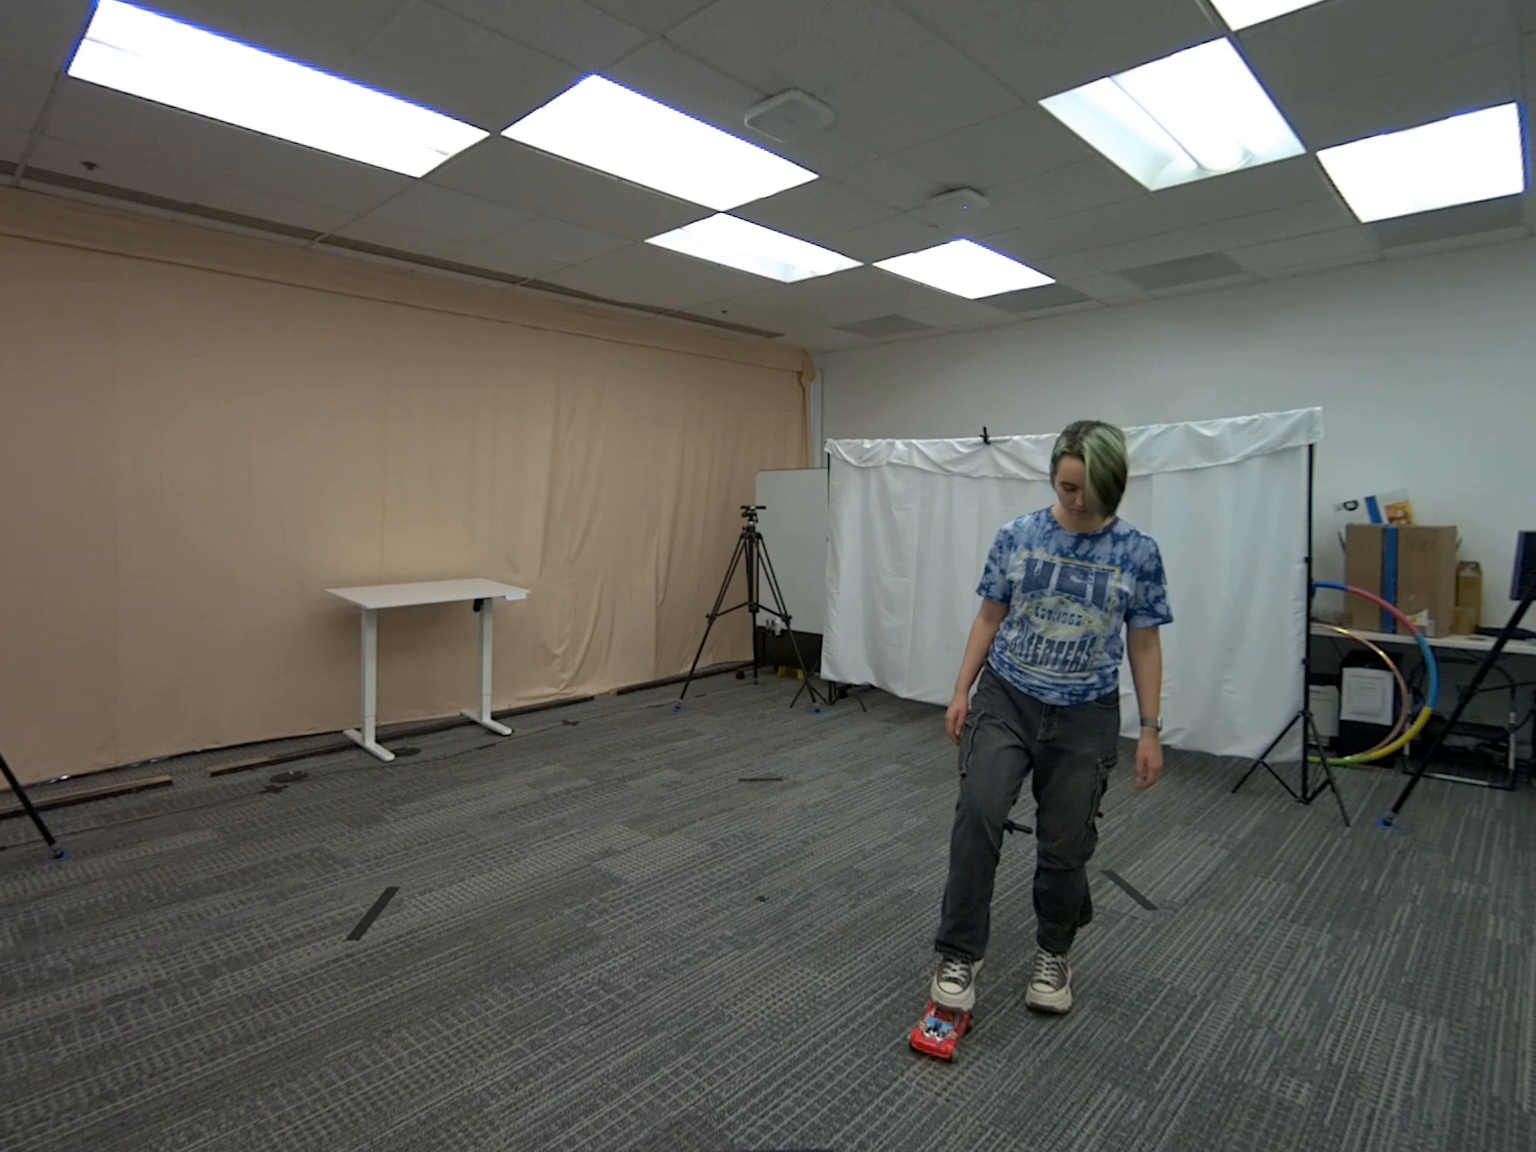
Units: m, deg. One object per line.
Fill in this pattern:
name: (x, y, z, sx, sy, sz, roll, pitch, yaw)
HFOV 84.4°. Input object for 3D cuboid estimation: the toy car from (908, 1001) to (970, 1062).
toy car: (0.471, 1.182, 2.208, 0.134, 0.082, 0.249, 3, 16, 29)
